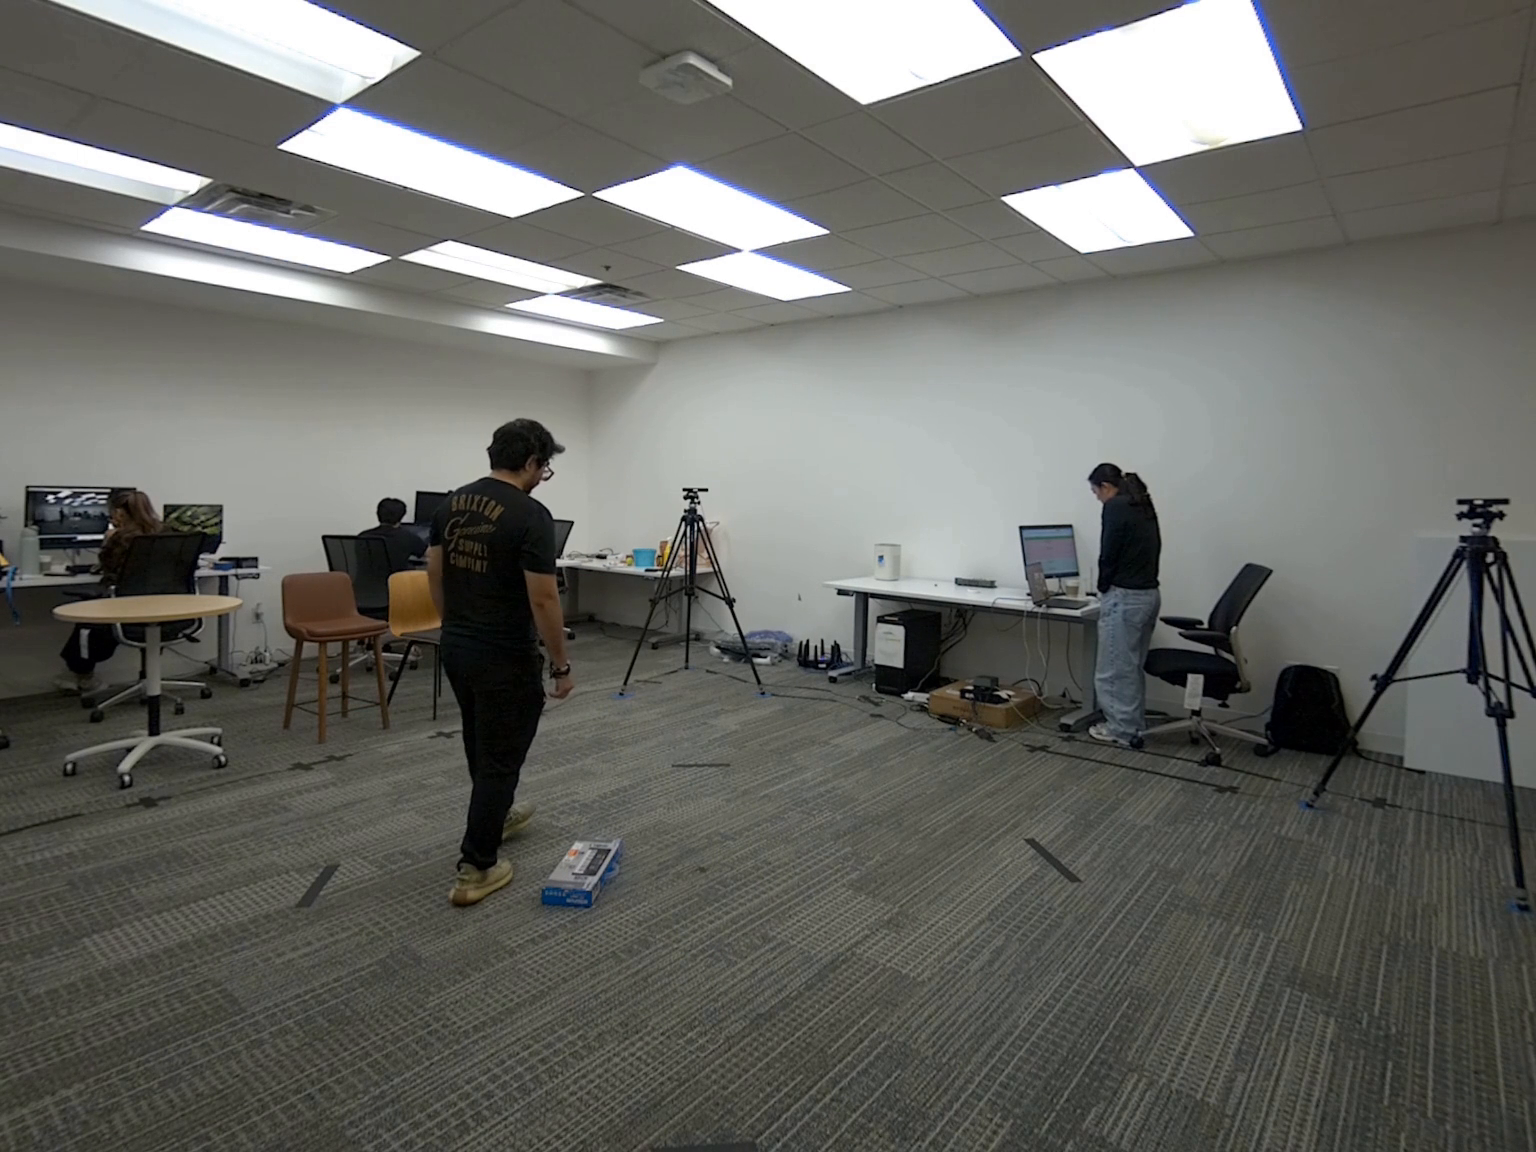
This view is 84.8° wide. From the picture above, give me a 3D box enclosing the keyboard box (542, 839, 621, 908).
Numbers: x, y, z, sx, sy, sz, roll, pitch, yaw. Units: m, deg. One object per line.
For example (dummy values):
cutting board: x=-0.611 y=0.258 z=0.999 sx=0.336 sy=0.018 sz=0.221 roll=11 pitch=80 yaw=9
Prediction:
keyboard box: x=-0.663 y=1.042 z=3.027 sx=0.177 sy=0.059 sz=0.435 roll=1 pitch=5 yaw=4
